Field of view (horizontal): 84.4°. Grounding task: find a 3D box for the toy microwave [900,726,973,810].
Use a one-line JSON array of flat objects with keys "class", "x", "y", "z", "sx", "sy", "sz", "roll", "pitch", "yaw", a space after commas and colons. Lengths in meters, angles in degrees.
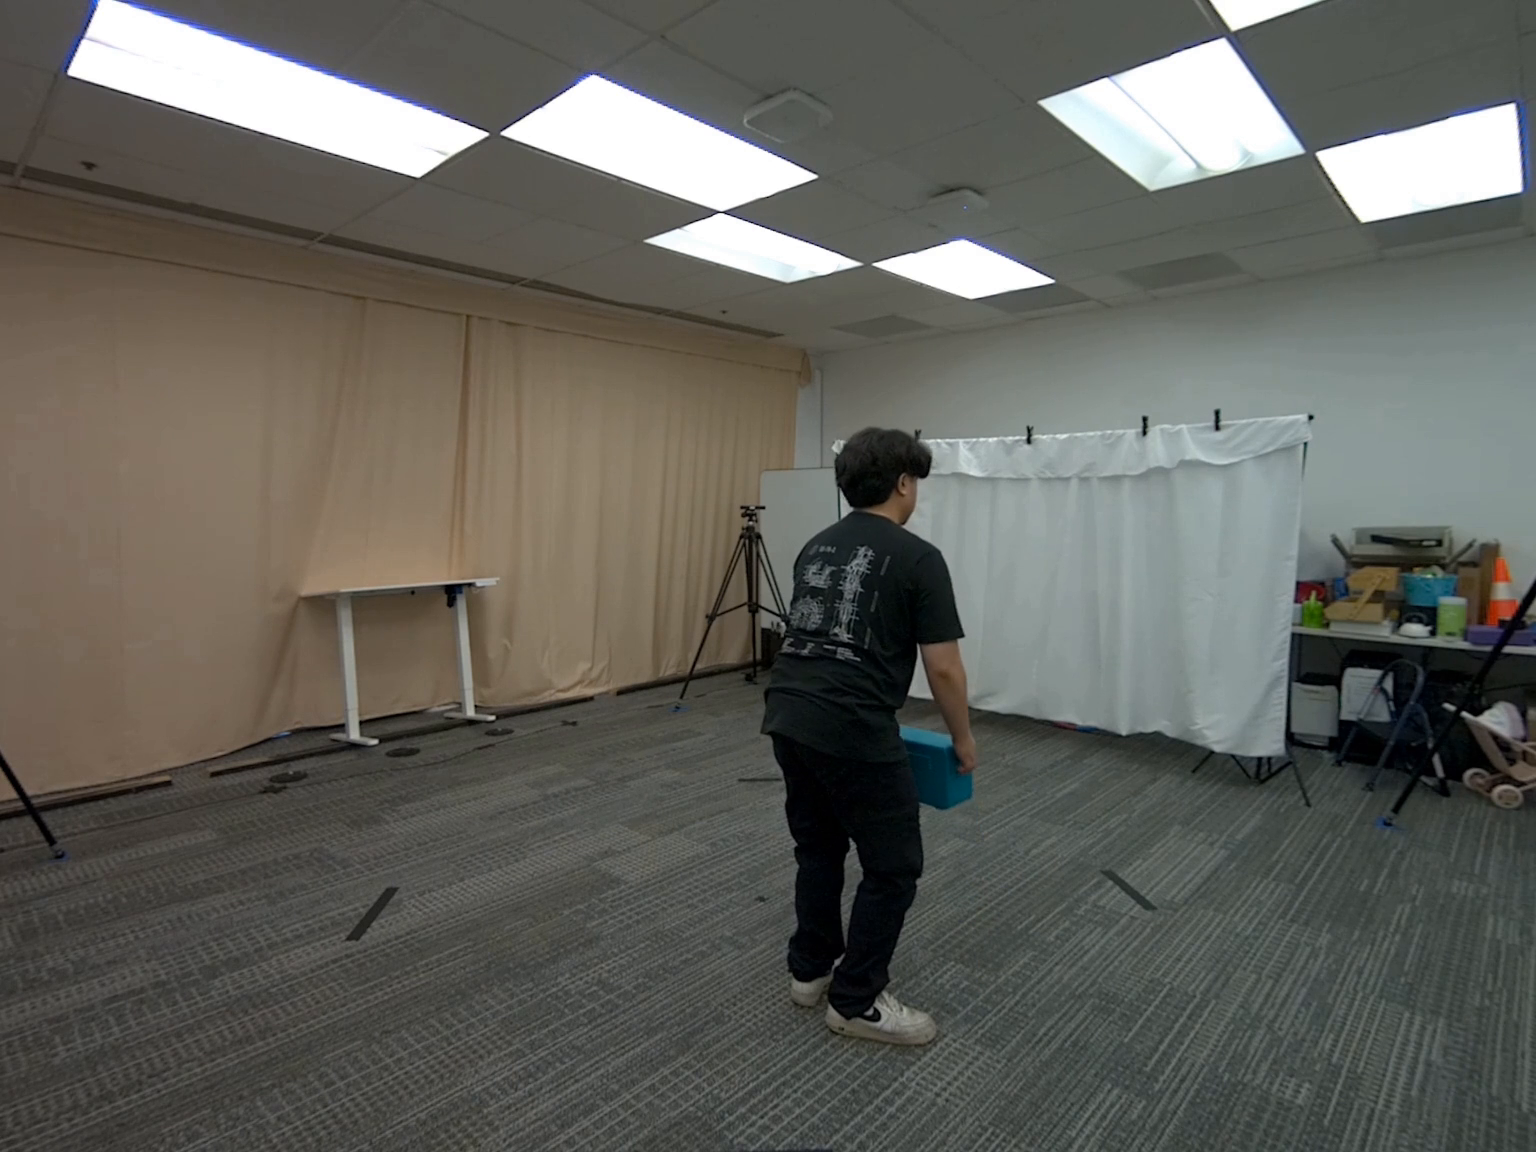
[{"class": "toy microwave", "x": 0.456, "y": 0.545, "z": 2.443, "sx": 0.148, "sy": 0.184, "sz": 0.295, "roll": -5, "pitch": 4, "yaw": -44}]
